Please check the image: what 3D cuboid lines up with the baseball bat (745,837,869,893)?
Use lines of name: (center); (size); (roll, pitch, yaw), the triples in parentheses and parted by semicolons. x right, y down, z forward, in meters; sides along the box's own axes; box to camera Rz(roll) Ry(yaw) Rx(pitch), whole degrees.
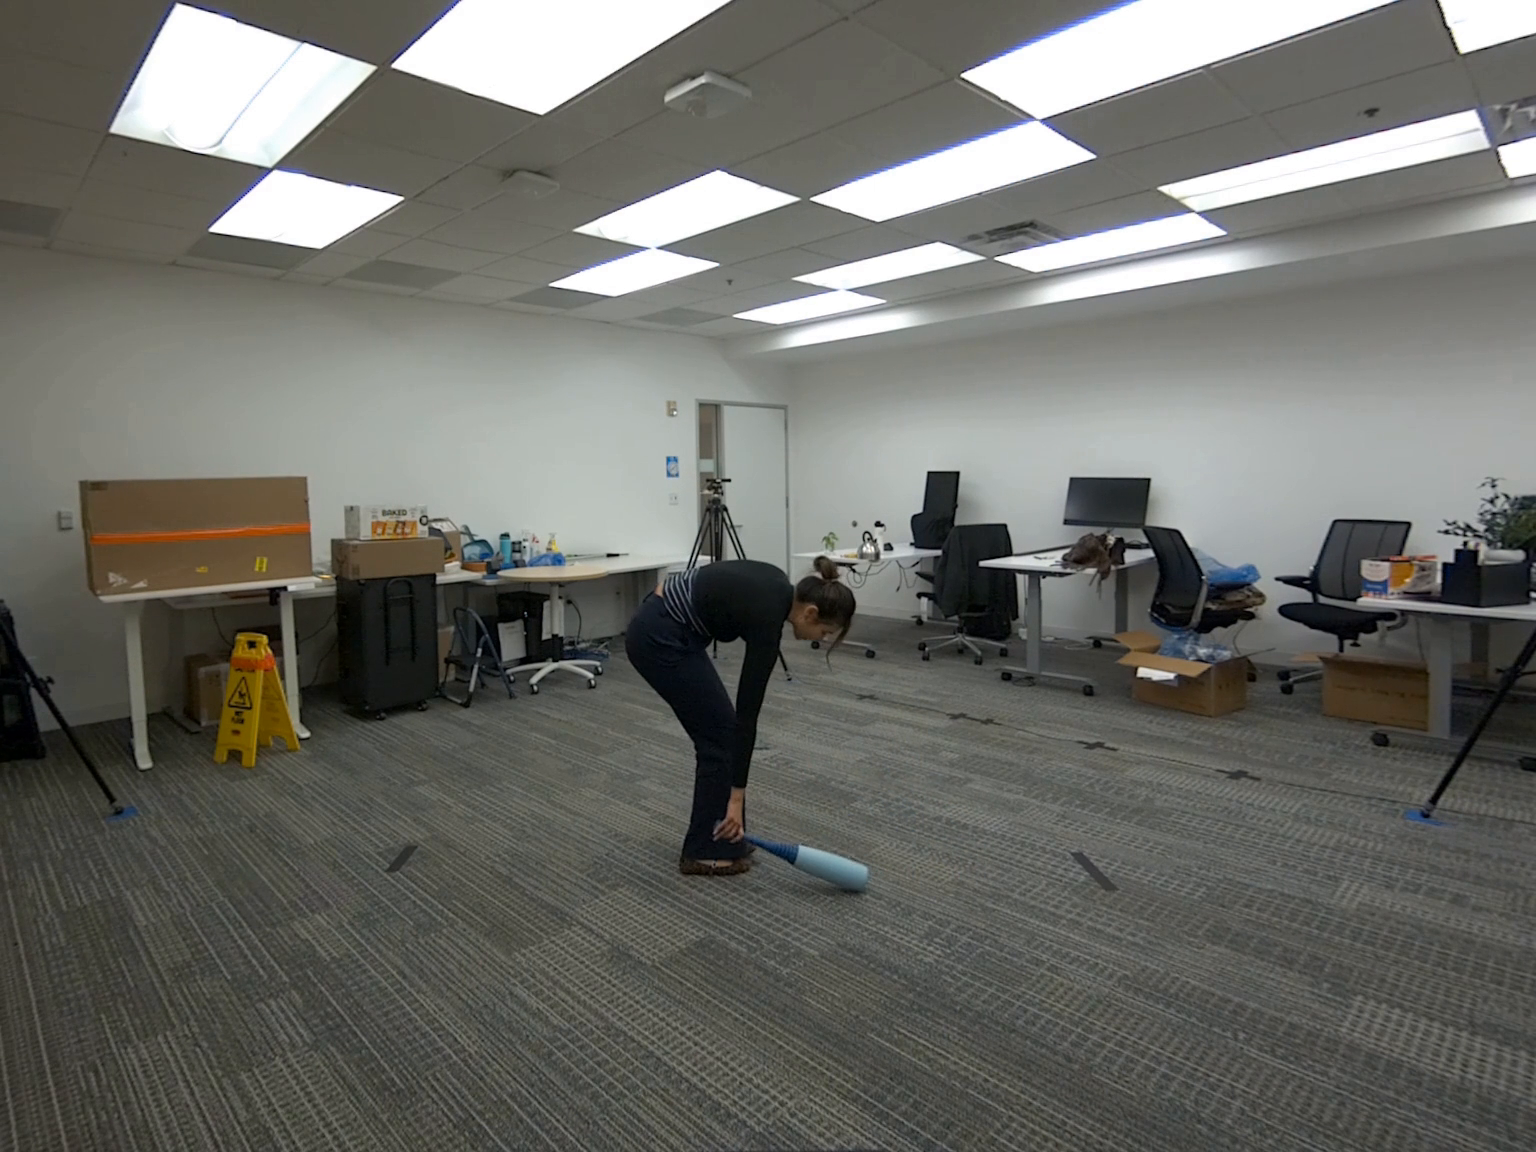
baseball bat: (0.084, 0.945, 2.891); (0.545, 0.089, 0.089); (17, 5, 3)
